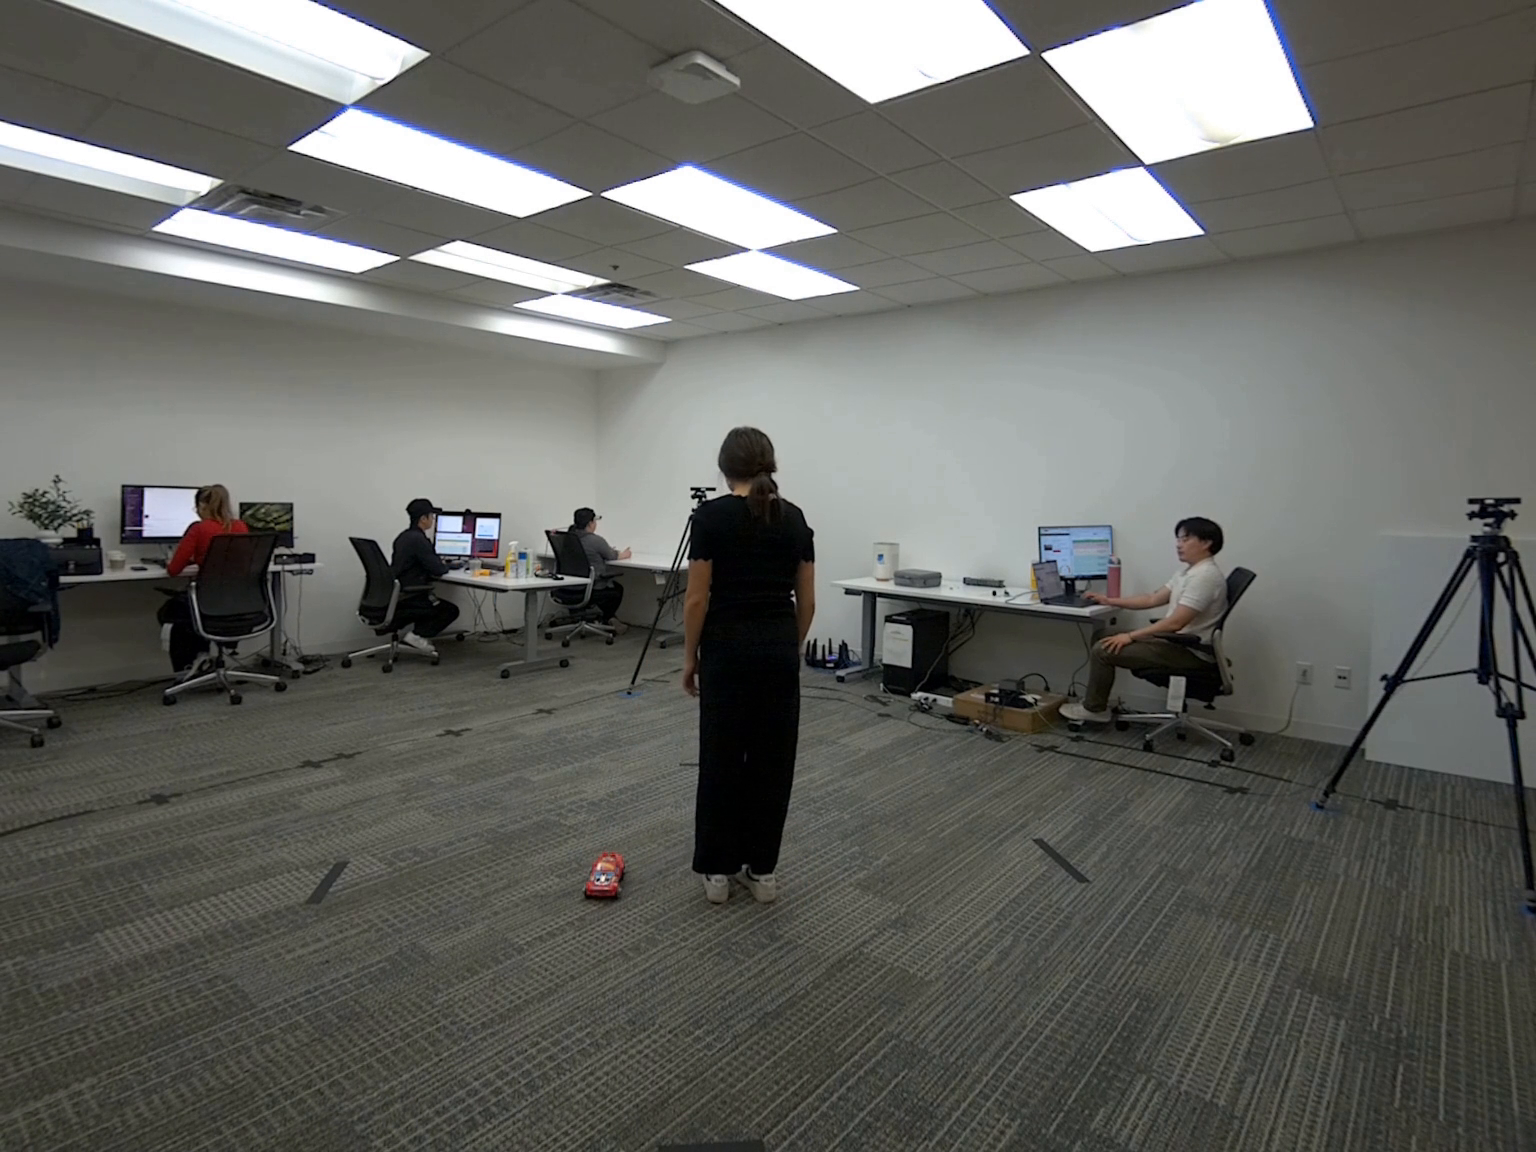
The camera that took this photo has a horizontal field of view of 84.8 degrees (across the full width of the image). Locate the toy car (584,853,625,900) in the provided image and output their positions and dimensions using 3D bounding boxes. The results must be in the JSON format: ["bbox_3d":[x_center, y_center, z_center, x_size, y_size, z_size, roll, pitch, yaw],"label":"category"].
[{"bbox_3d":[-0.576,1.043,2.965,0.130,0.082,0.258,1,17,-2],"label":"toy car"}]
